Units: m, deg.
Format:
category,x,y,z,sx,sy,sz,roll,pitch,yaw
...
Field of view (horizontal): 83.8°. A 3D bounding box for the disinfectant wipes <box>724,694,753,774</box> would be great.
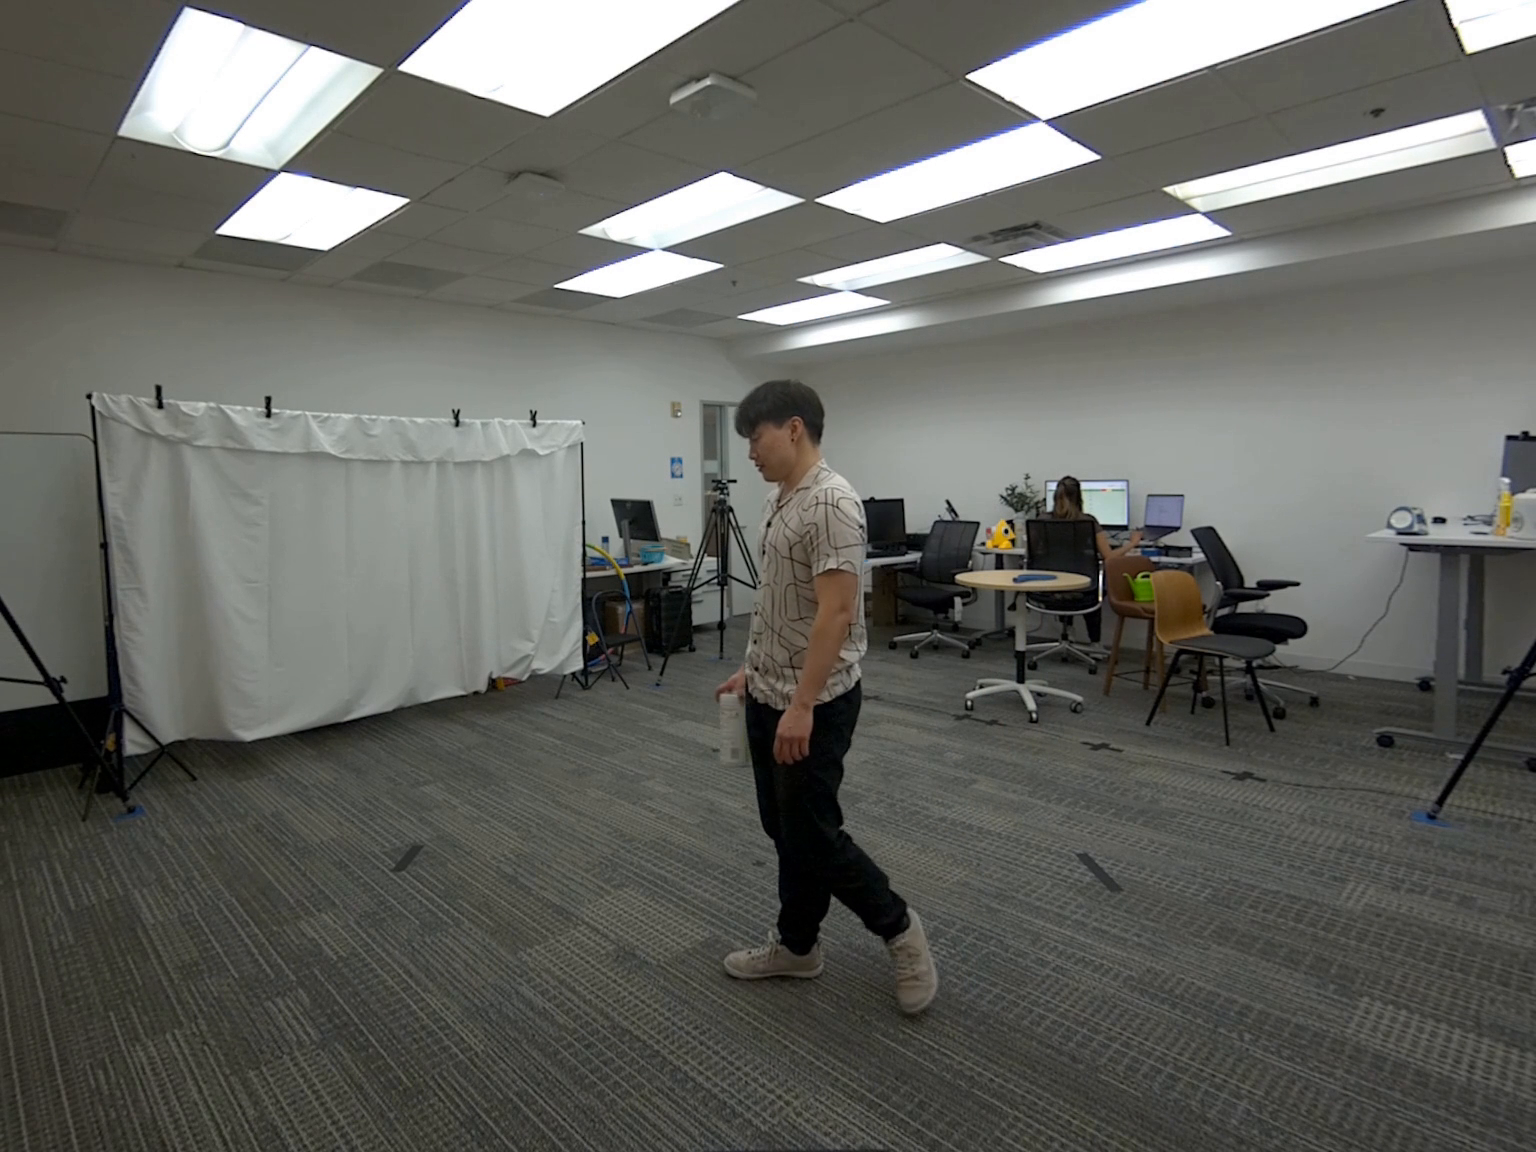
category,x,y,z,sx,sy,sz,roll,pitch,yaw
disinfectant wipes,-0.074,0.471,2.586,0.118,0.218,0.117,0,-5,-2
